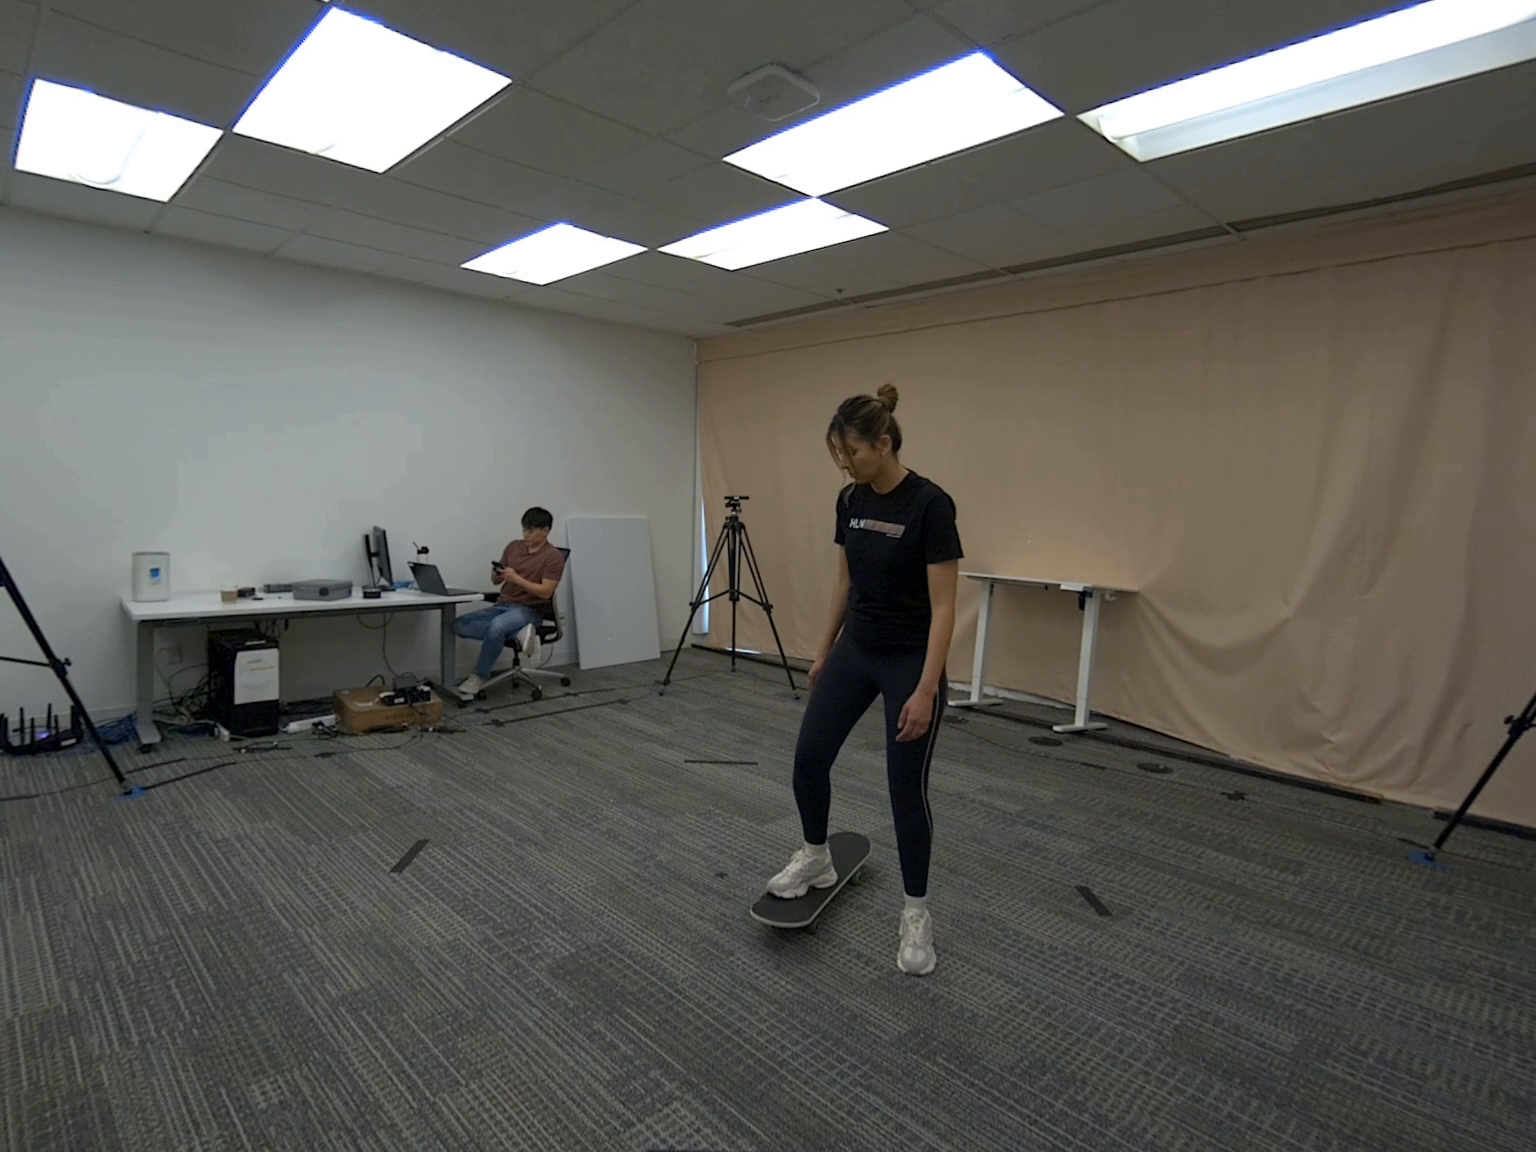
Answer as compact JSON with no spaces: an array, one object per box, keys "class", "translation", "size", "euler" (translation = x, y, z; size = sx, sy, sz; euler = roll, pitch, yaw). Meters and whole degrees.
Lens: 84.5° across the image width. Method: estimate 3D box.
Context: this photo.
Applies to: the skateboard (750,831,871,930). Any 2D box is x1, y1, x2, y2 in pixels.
[{"class":"skateboard","translation":[0.159,1.077,2.908],"size":[0.197,0.110,0.772],"euler":[4,6,26]}]
